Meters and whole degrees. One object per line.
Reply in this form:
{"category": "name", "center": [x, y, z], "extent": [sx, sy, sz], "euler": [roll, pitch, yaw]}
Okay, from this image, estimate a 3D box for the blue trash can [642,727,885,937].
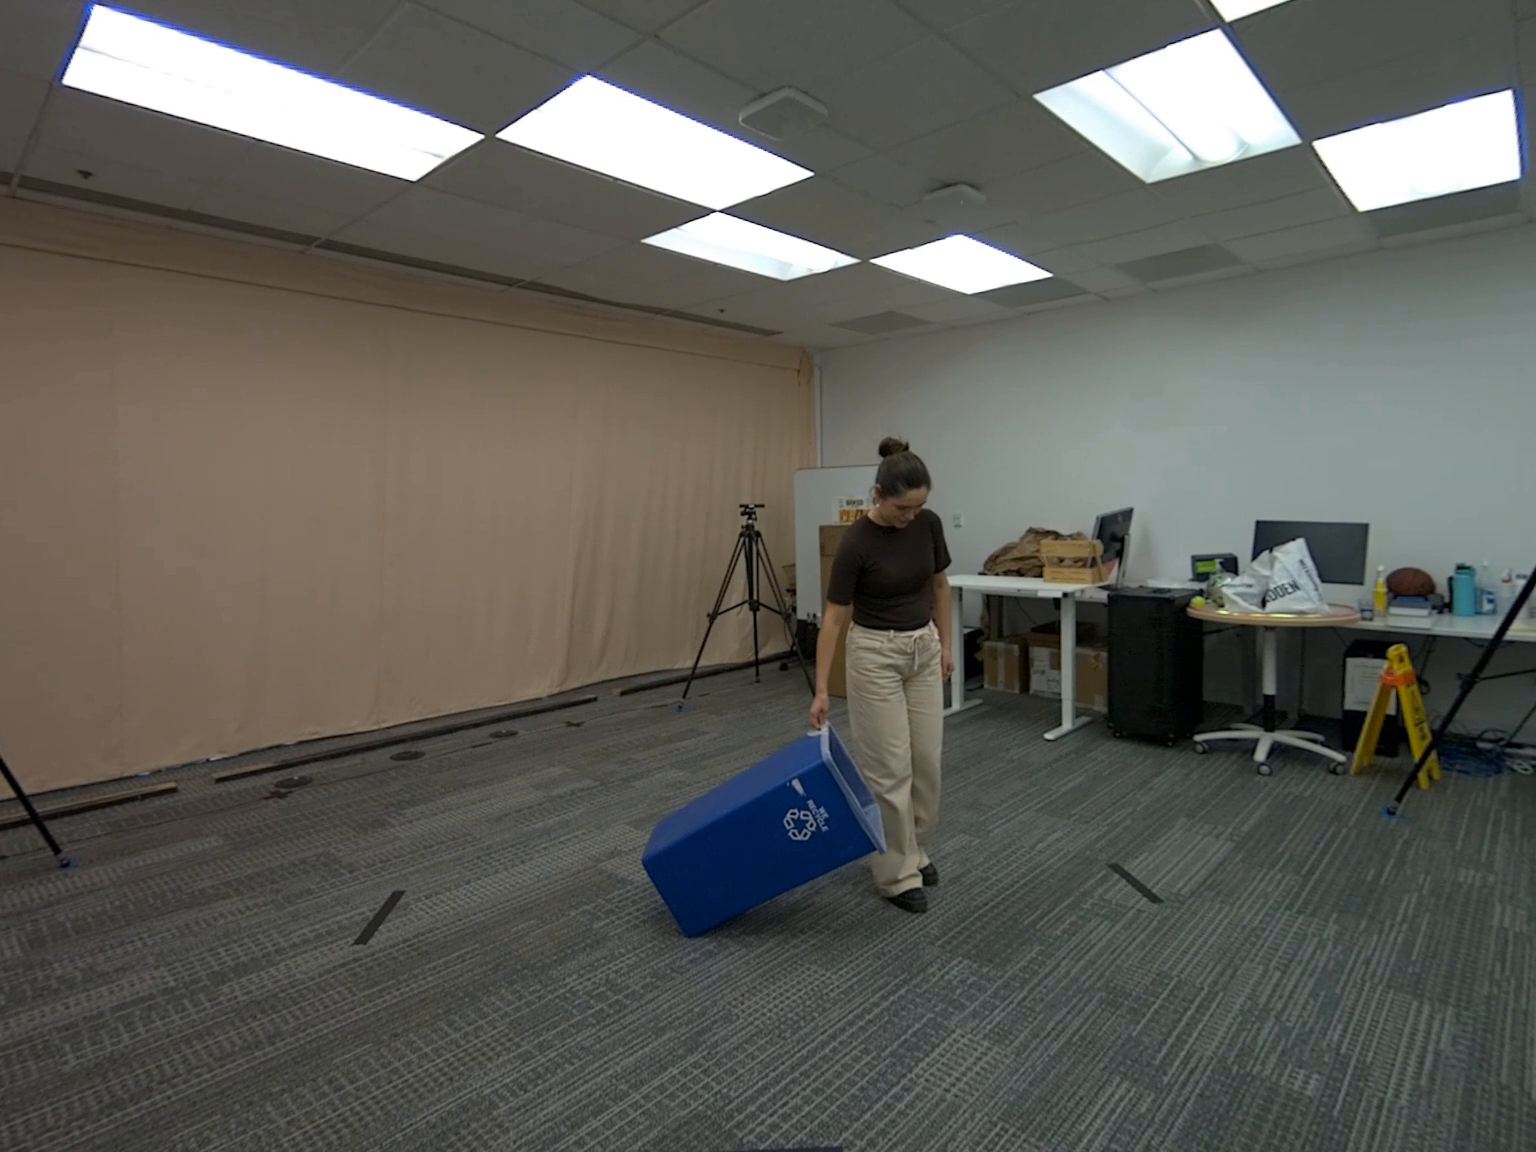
{"category": "blue trash can", "center": [-0.018, 0.849, 2.786], "extent": [0.717, 0.373, 0.378], "euler": [-31, 4, 7]}
